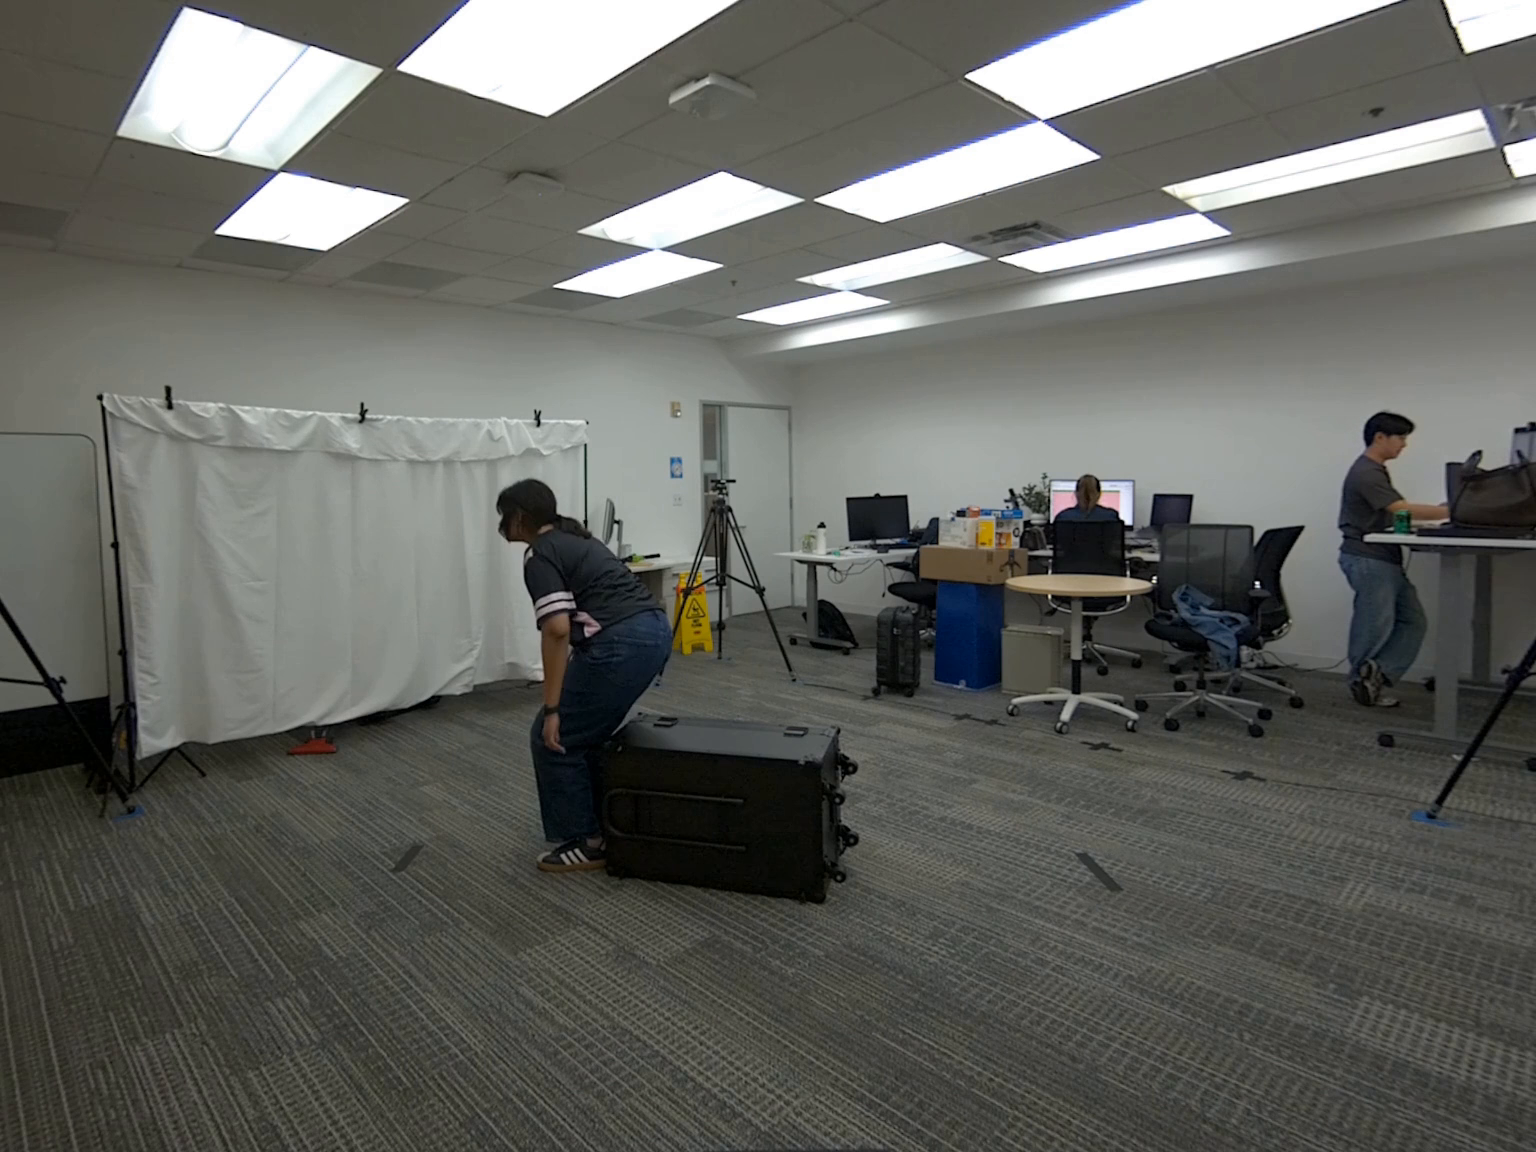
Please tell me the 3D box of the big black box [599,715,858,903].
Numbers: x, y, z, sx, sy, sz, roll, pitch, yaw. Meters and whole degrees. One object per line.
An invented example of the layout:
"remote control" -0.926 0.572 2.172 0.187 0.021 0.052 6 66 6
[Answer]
"big black box" -0.123 0.794 3.045 0.883 0.521 0.380 1 5 17
